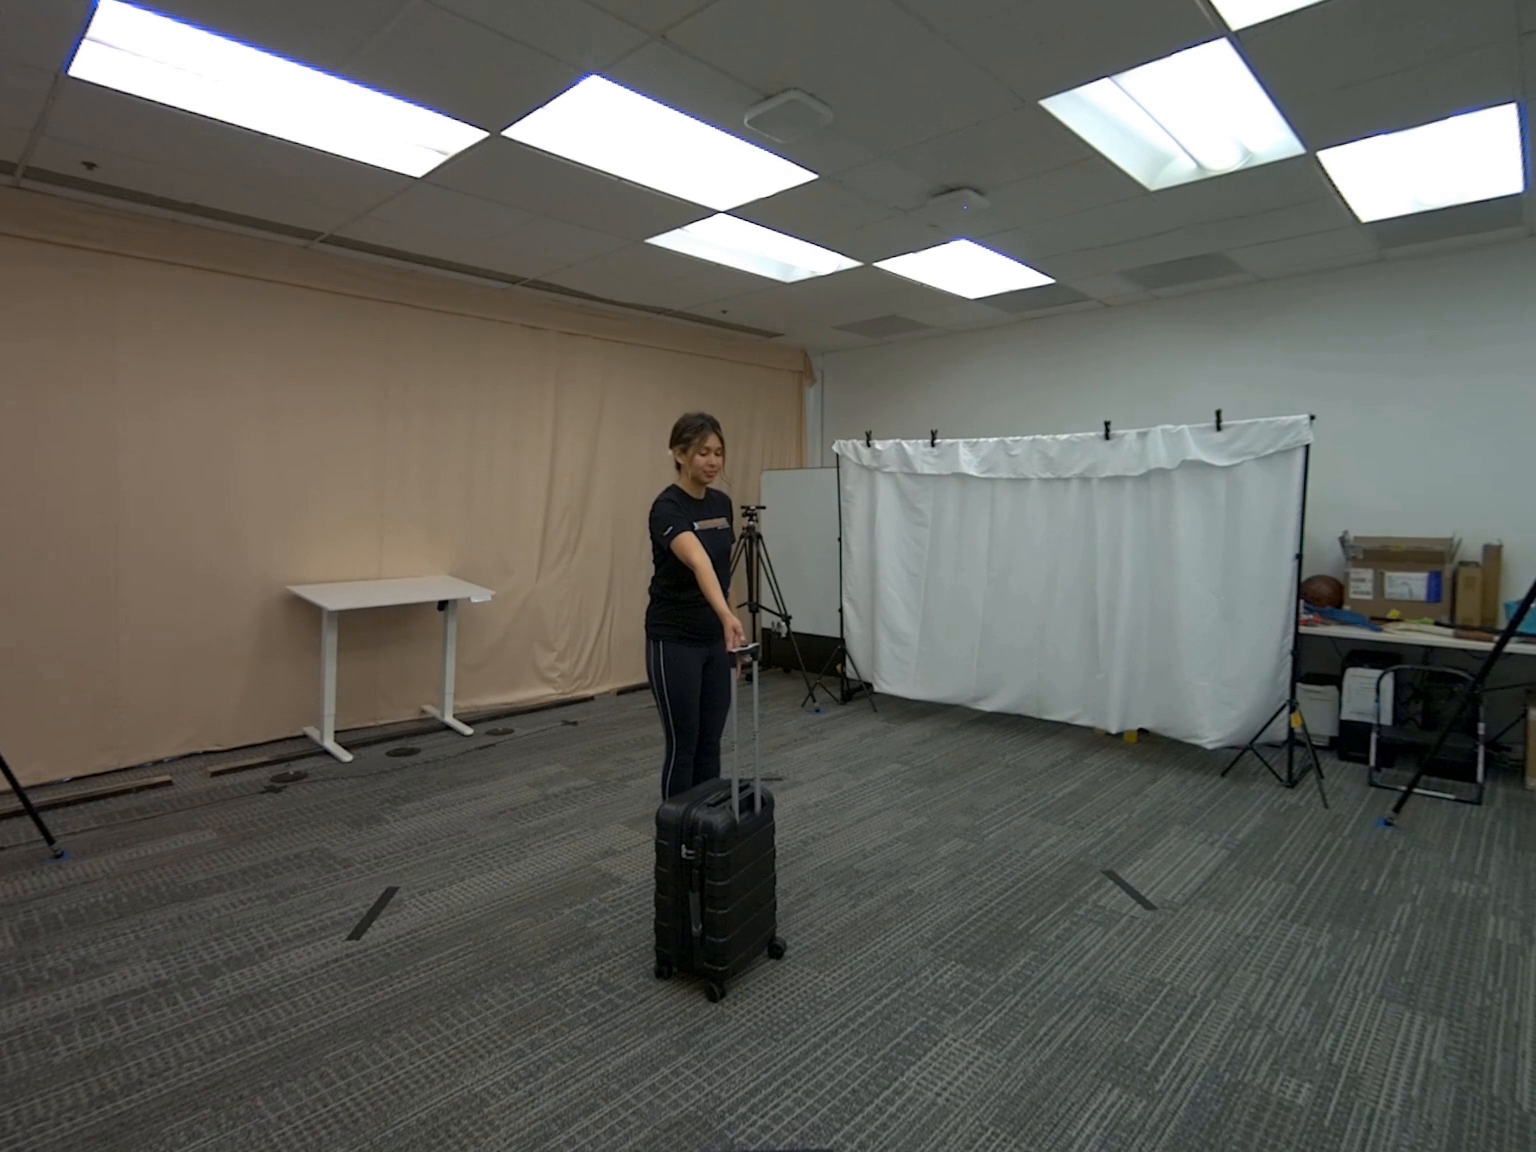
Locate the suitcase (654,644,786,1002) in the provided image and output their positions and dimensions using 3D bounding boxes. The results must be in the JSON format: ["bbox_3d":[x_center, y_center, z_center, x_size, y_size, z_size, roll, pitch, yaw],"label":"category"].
[{"bbox_3d":[-0.153,0.711,2.510,0.264,0.977,0.374,-1,3,28],"label":"suitcase"}]
